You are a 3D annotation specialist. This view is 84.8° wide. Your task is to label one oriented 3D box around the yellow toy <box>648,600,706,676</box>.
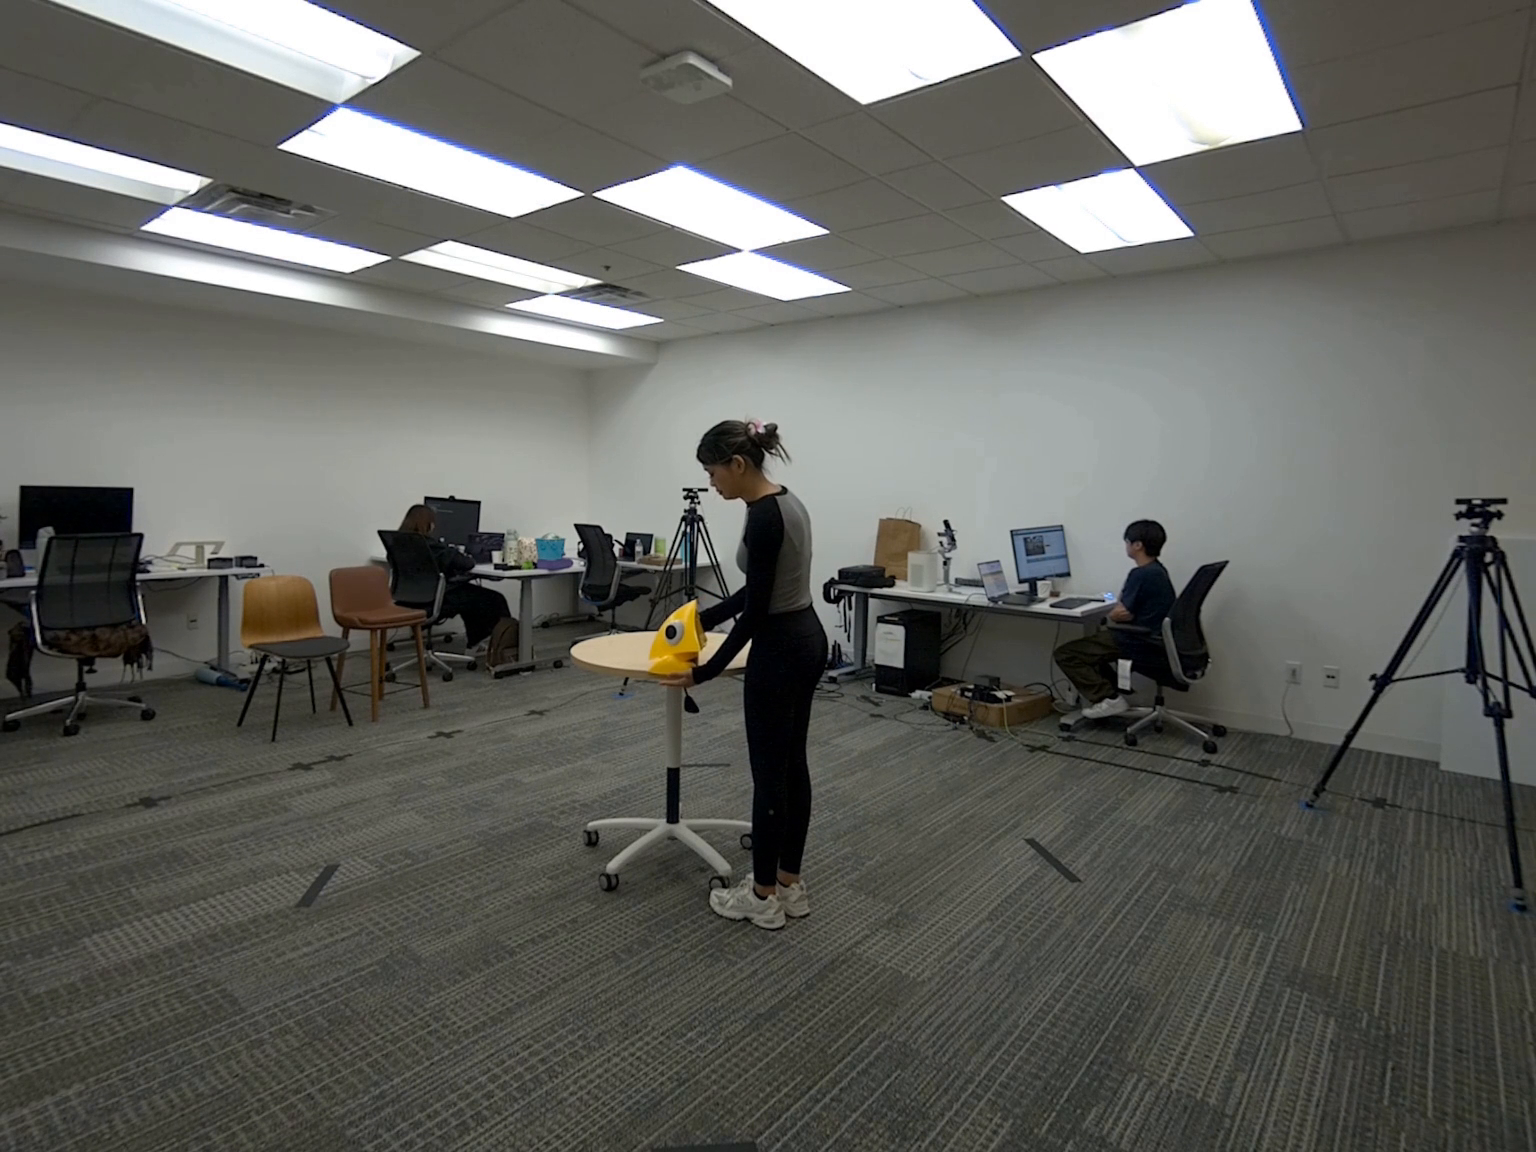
[{"bbox_3d":[-0.310,0.189,2.831,0.194,0.230,0.204,1,4,4],"label":"yellow toy"}]
